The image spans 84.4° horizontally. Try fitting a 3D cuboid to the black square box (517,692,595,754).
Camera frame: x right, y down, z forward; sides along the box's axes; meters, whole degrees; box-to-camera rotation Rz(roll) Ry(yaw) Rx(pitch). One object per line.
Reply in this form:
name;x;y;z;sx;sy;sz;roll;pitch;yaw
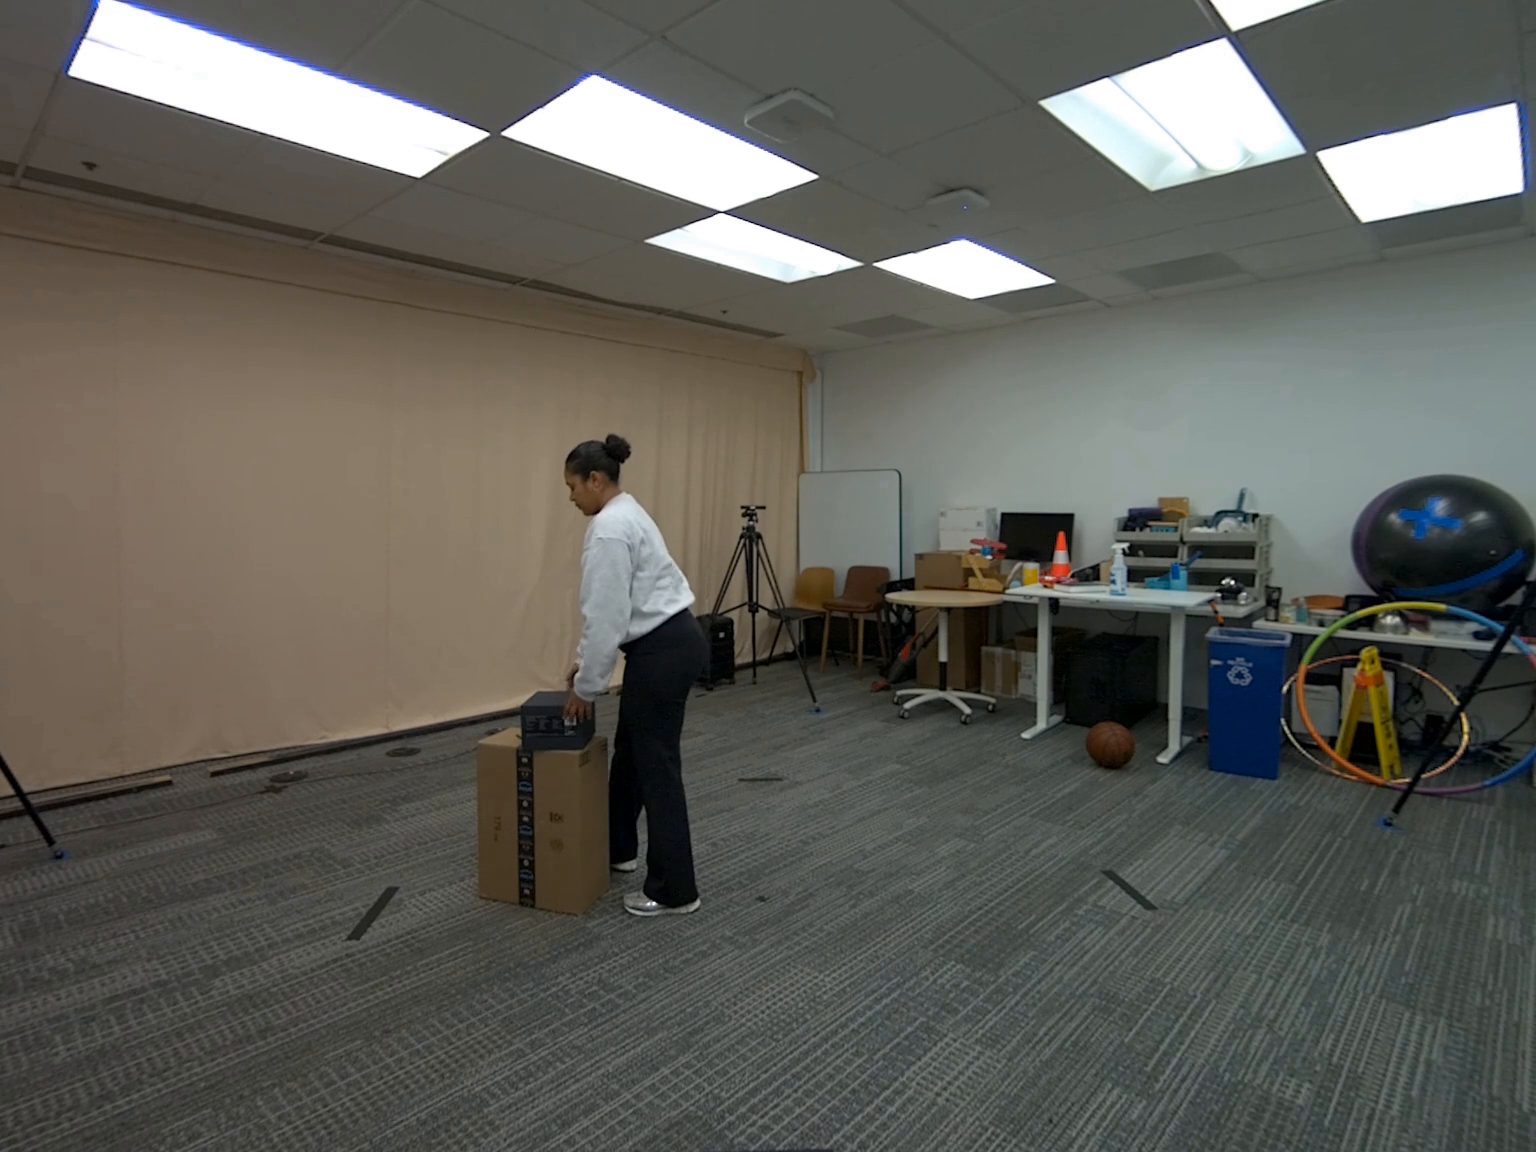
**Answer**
black square box;-0.740;0.509;2.973;0.217;0.155;0.228;-1;4;-1
